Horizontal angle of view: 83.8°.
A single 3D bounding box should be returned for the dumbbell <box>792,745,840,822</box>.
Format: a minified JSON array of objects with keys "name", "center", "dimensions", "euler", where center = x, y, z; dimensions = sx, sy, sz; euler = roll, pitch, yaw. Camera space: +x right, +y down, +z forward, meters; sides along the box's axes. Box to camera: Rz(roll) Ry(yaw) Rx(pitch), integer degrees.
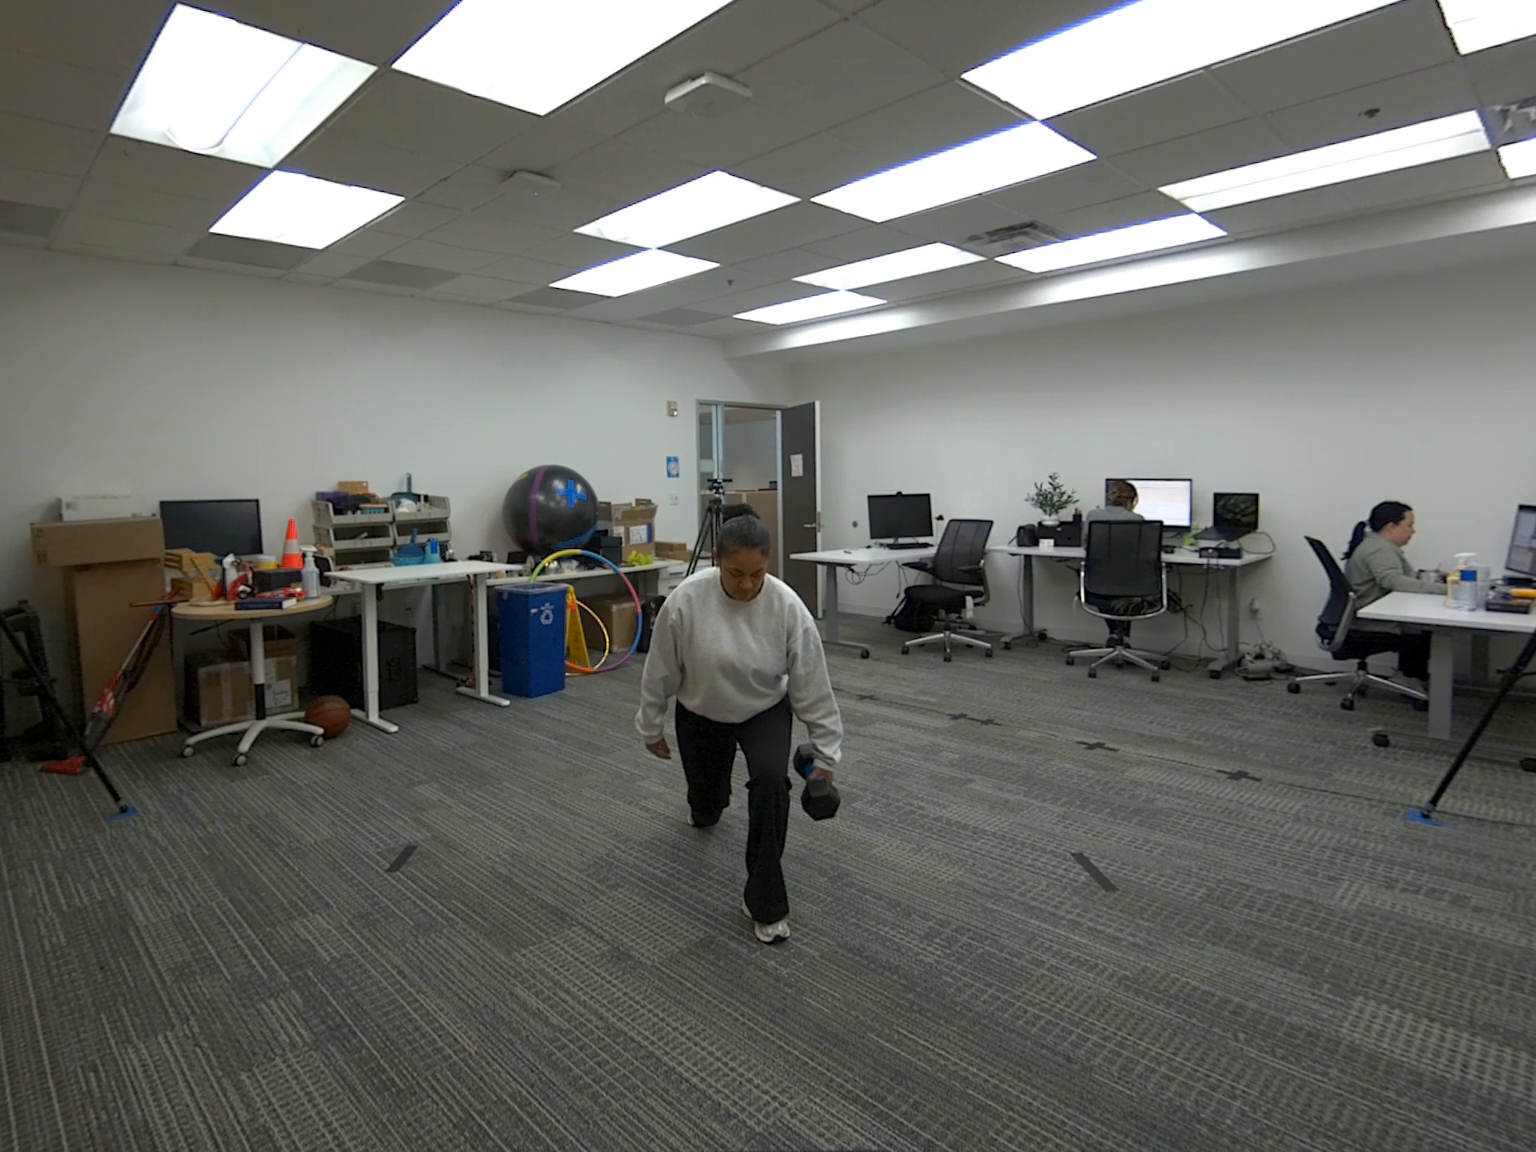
[{"name":"dumbbell","center":[0.145,0.665,2.792],"dimensions":[0.107,0.122,0.300],"euler":[16,17,-12]}]
